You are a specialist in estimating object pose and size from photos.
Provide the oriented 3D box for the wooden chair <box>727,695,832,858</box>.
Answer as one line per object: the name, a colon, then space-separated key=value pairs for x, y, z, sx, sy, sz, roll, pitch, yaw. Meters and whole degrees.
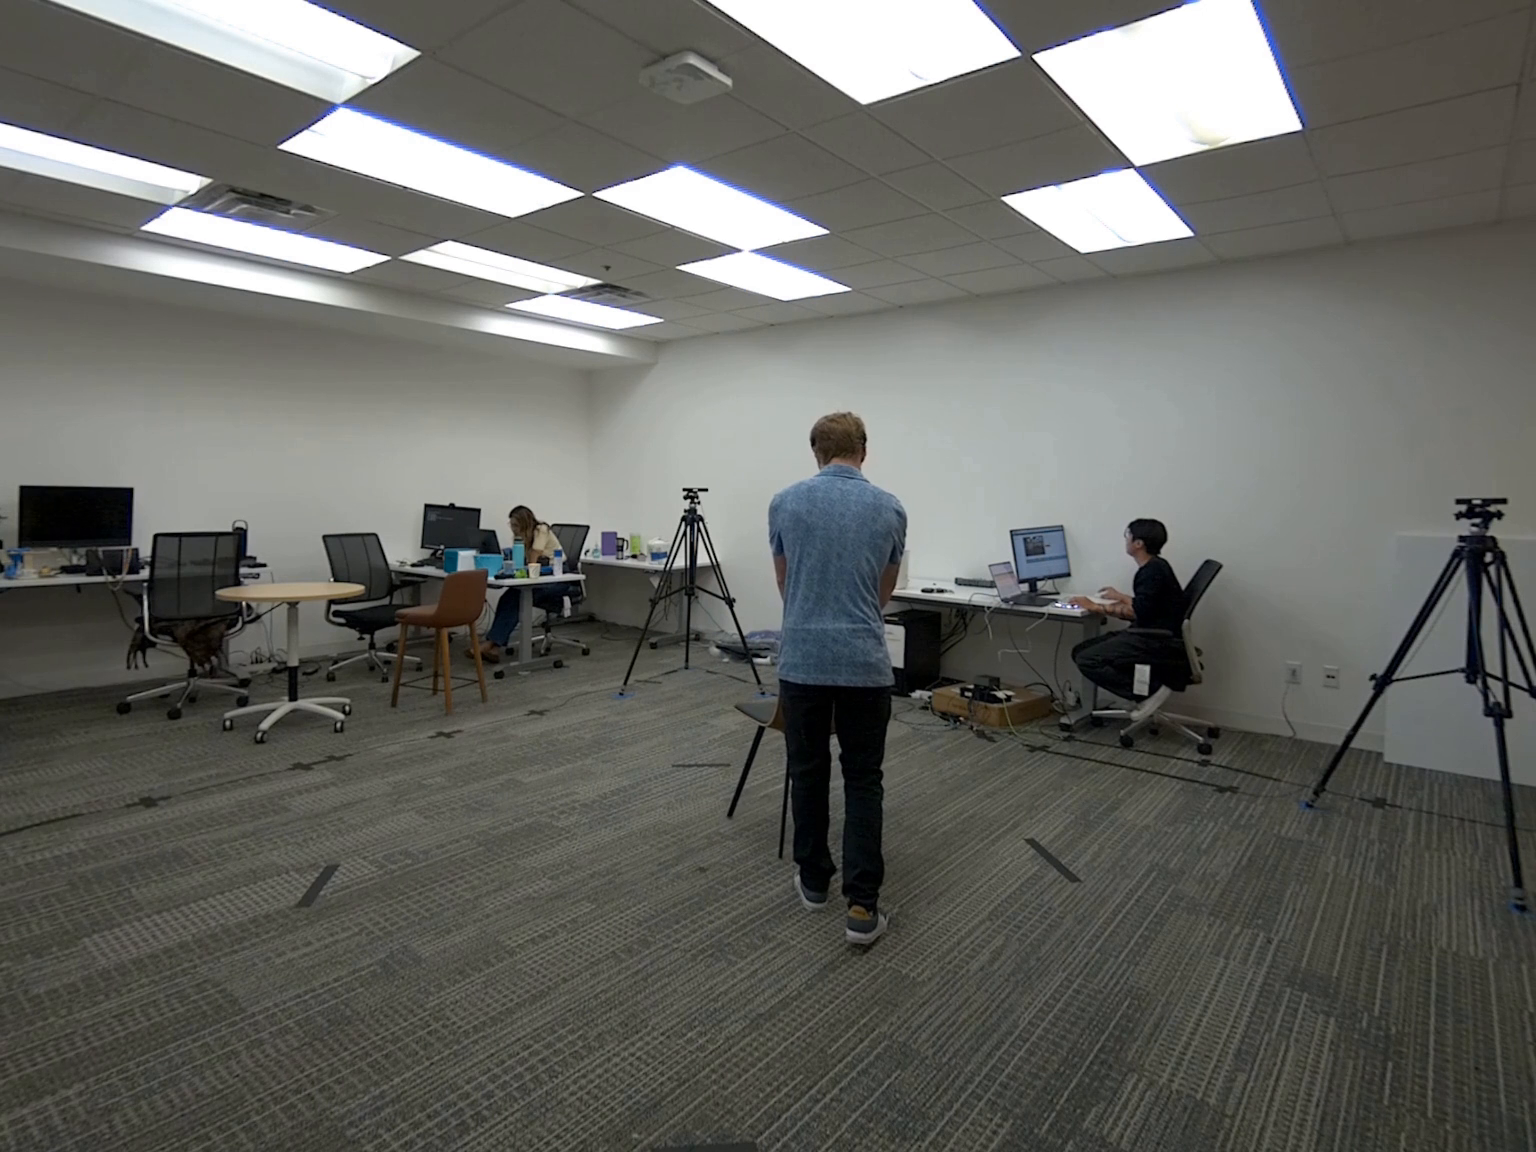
wooden chair: x=0.125 y=0.607 z=3.483 sx=0.466 sy=0.872 sz=0.540 roll=0 pitch=8 yaw=-27
